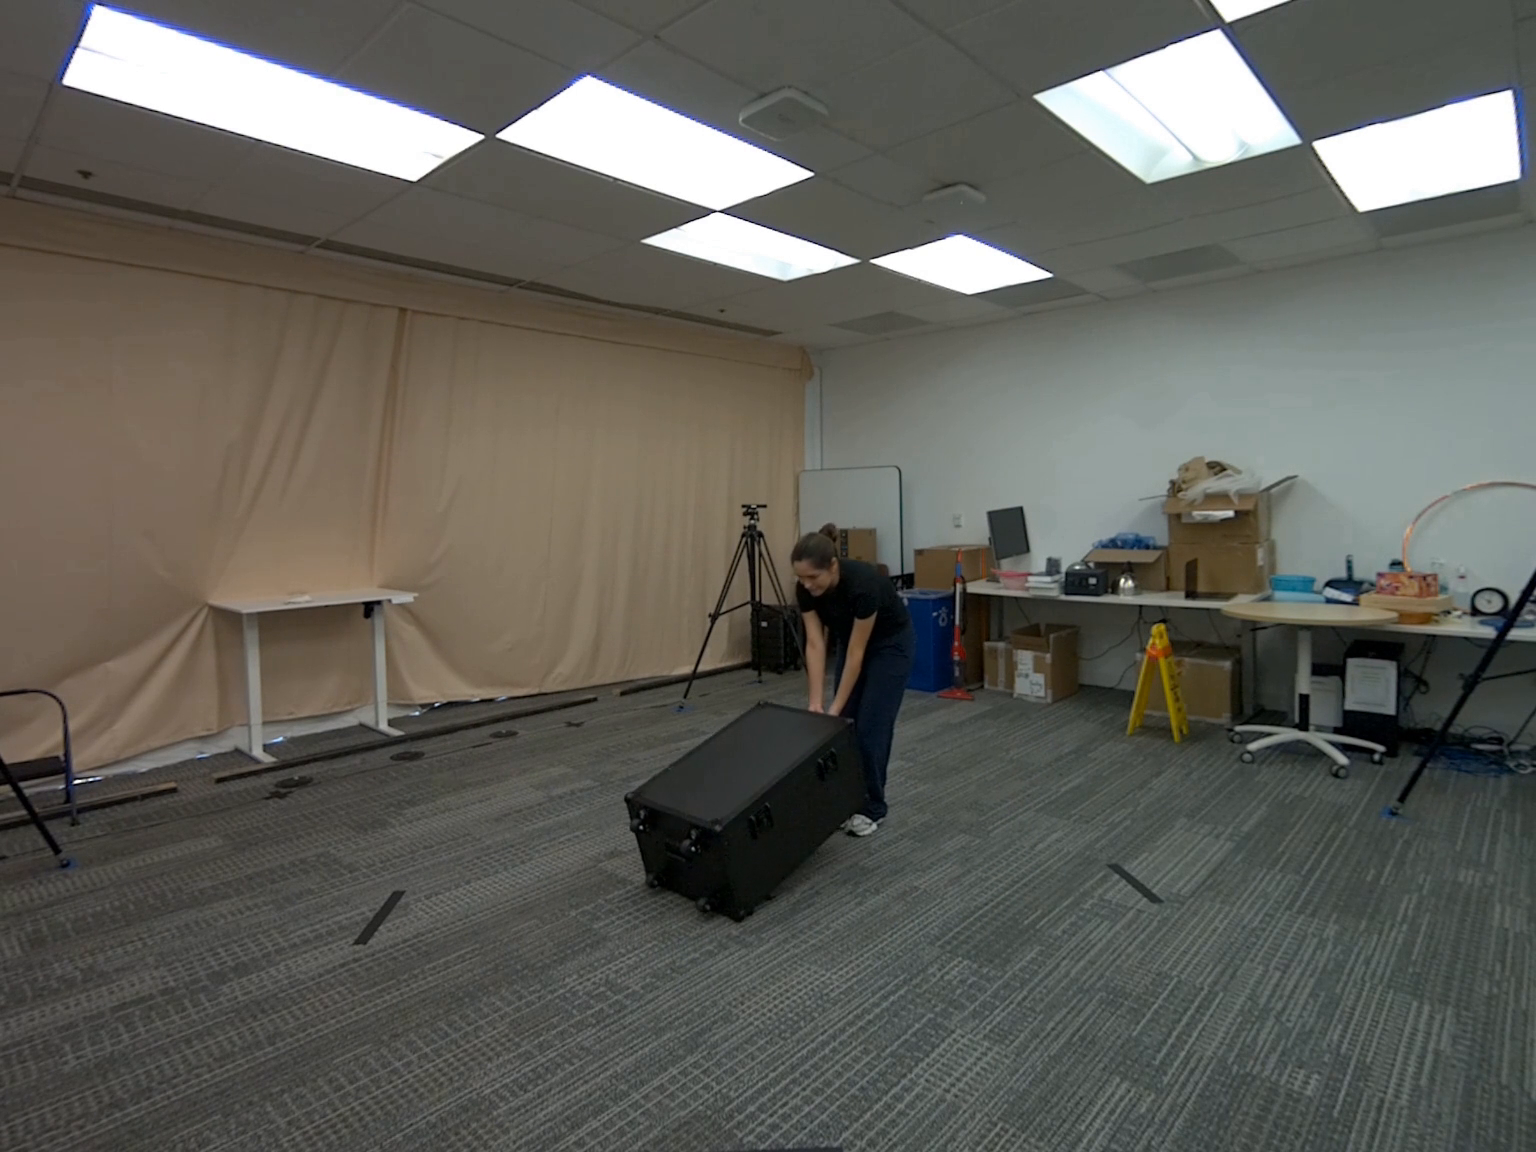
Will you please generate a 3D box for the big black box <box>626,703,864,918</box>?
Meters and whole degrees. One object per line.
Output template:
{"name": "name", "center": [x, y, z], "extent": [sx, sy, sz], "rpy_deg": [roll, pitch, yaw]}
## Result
{"name": "big black box", "center": [-0.070, 0.860, 3.168], "extent": [0.538, 0.391, 0.844], "rpy_deg": [3, 22, 43]}
